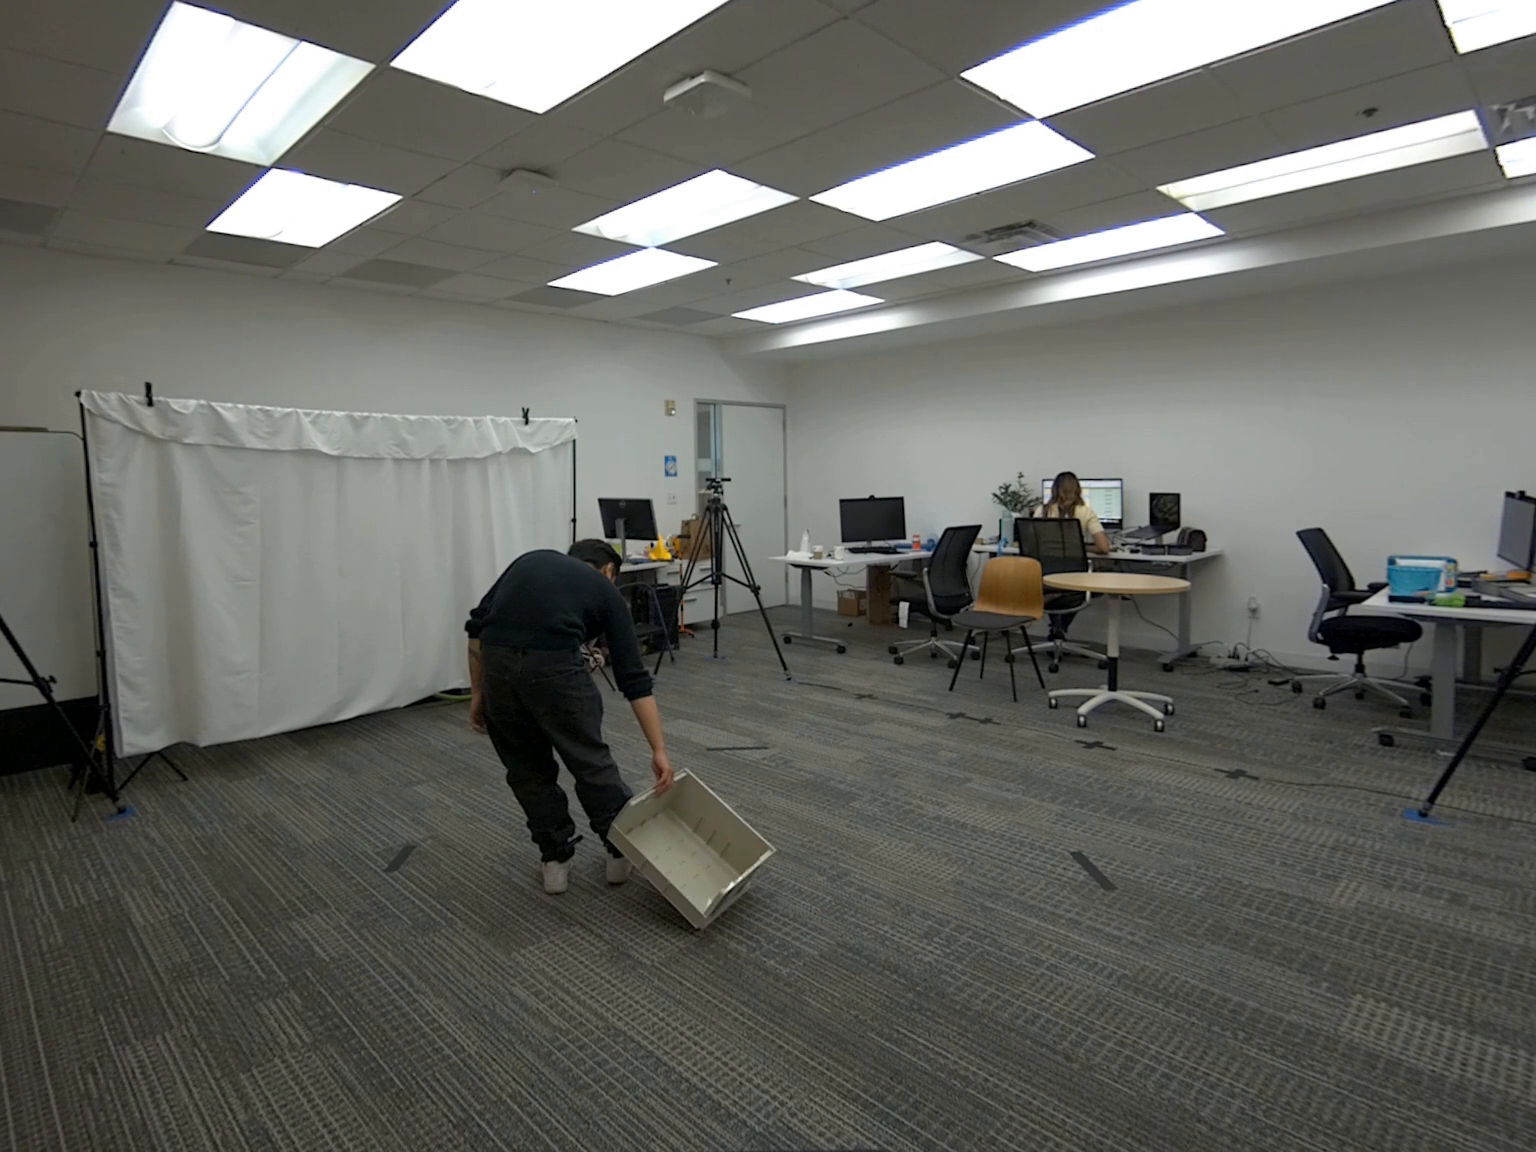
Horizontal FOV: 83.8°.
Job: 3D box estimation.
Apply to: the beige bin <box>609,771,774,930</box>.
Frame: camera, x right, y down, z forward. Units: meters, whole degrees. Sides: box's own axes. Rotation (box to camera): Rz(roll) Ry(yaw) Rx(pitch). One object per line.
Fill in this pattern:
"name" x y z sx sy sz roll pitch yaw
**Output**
"beige bin" -0.255 0.890 2.817 0.434 0.188 0.369 35 18 21
